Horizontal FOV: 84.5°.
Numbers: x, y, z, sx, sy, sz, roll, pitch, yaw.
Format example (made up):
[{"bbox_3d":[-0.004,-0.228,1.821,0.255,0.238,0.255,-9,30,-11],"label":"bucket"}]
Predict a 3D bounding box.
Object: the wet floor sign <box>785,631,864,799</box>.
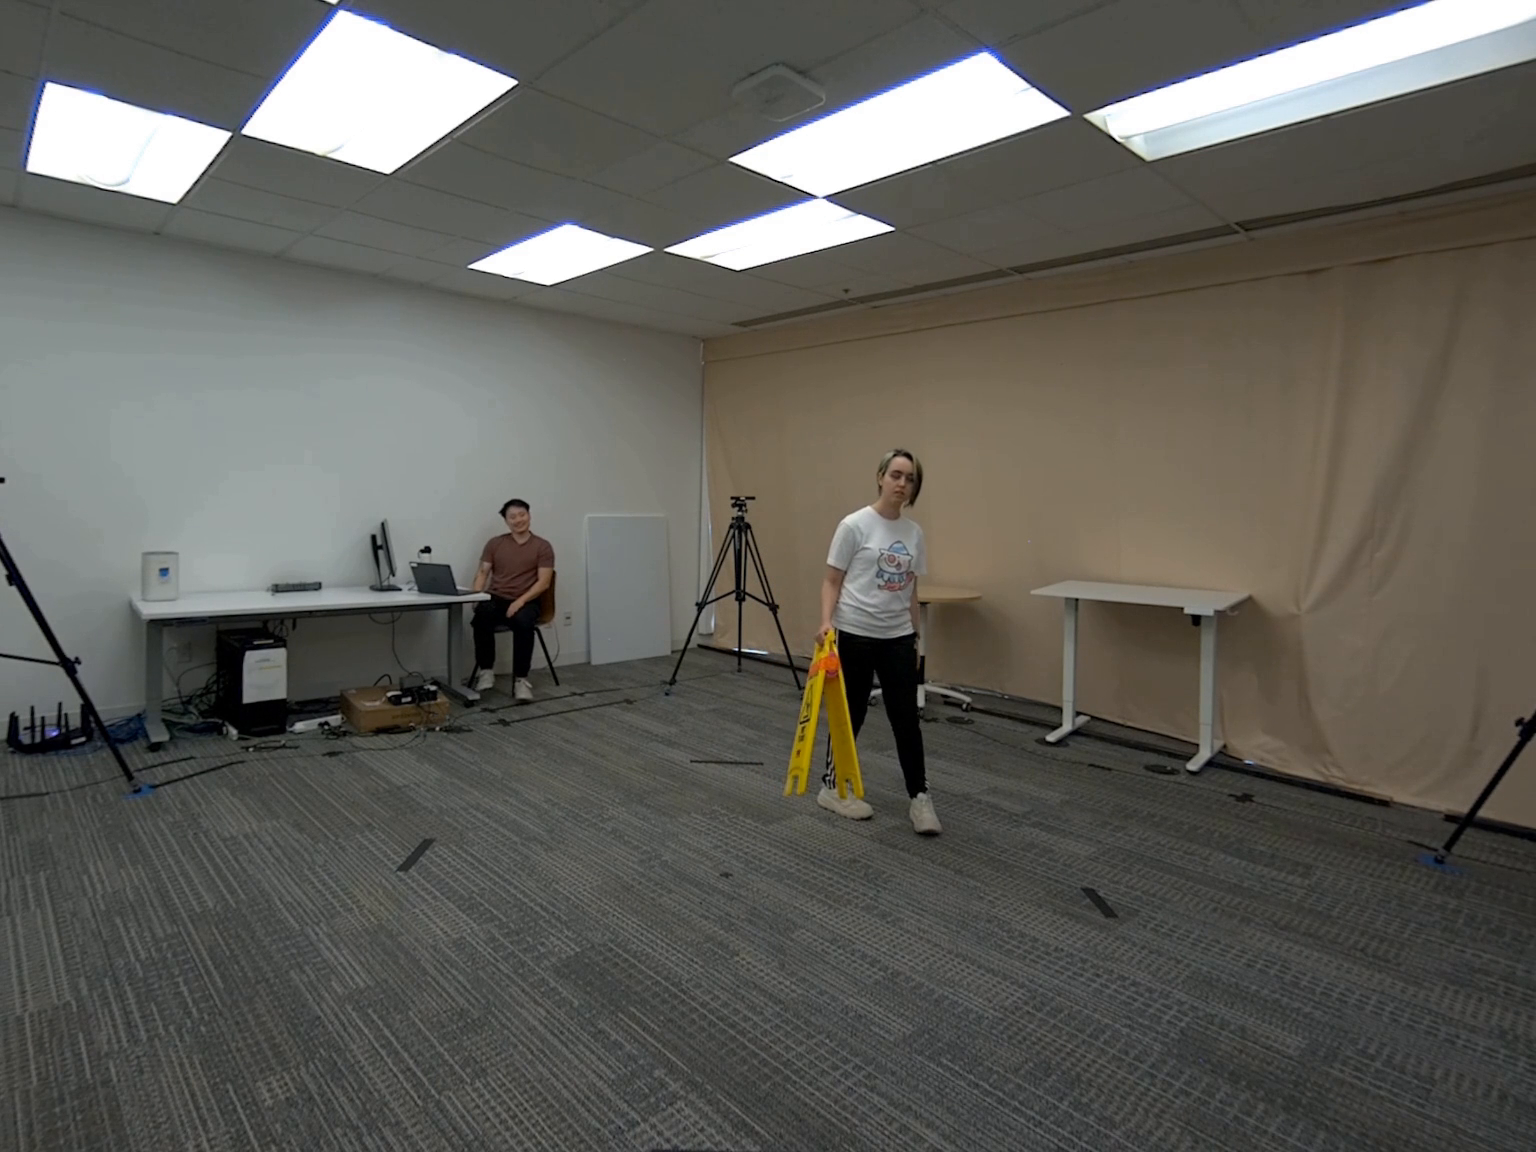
[{"bbox_3d":[0.223,0.556,3.394,0.287,0.653,0.281,5,-17,-10],"label":"wet floor sign"}]
